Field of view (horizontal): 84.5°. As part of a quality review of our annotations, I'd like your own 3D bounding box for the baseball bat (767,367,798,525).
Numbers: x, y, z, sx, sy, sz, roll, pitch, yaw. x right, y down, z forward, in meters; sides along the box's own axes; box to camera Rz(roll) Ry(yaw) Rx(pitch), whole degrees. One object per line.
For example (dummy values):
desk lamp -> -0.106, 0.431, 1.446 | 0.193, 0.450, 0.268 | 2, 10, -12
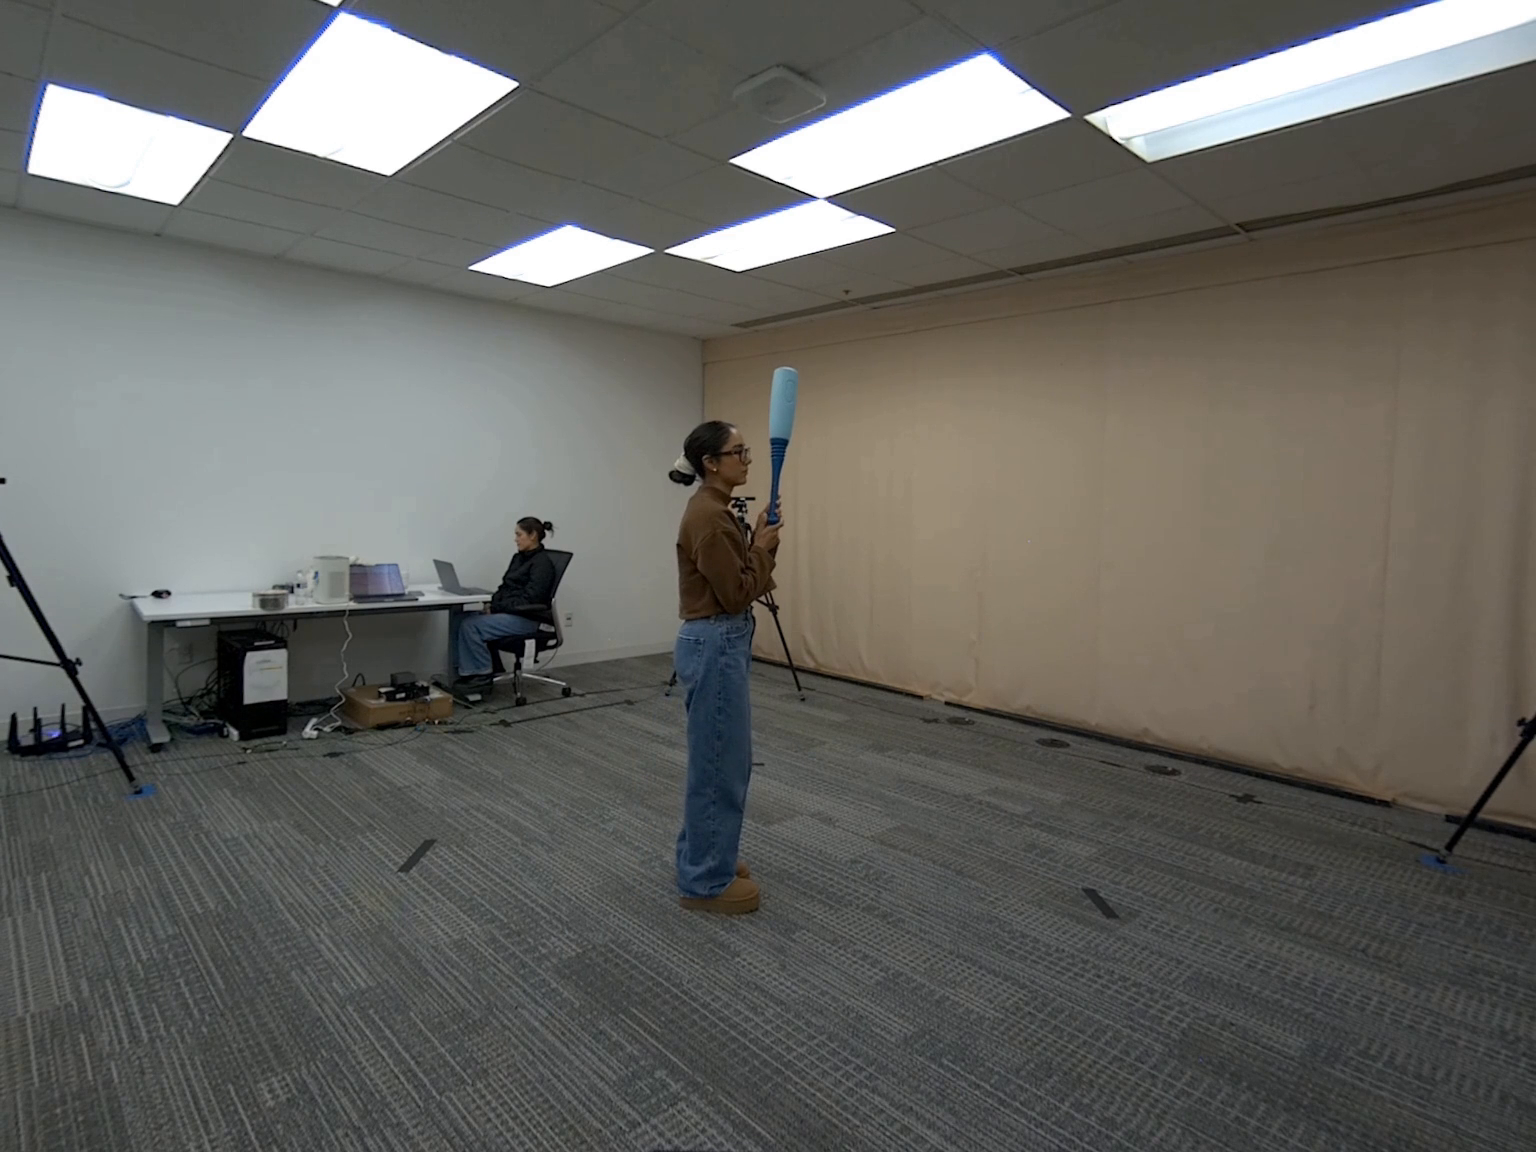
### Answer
baseball bat -> 0.029, -0.448, 2.873 | 0.089, 0.546, 0.088 | 7, -8, 0
